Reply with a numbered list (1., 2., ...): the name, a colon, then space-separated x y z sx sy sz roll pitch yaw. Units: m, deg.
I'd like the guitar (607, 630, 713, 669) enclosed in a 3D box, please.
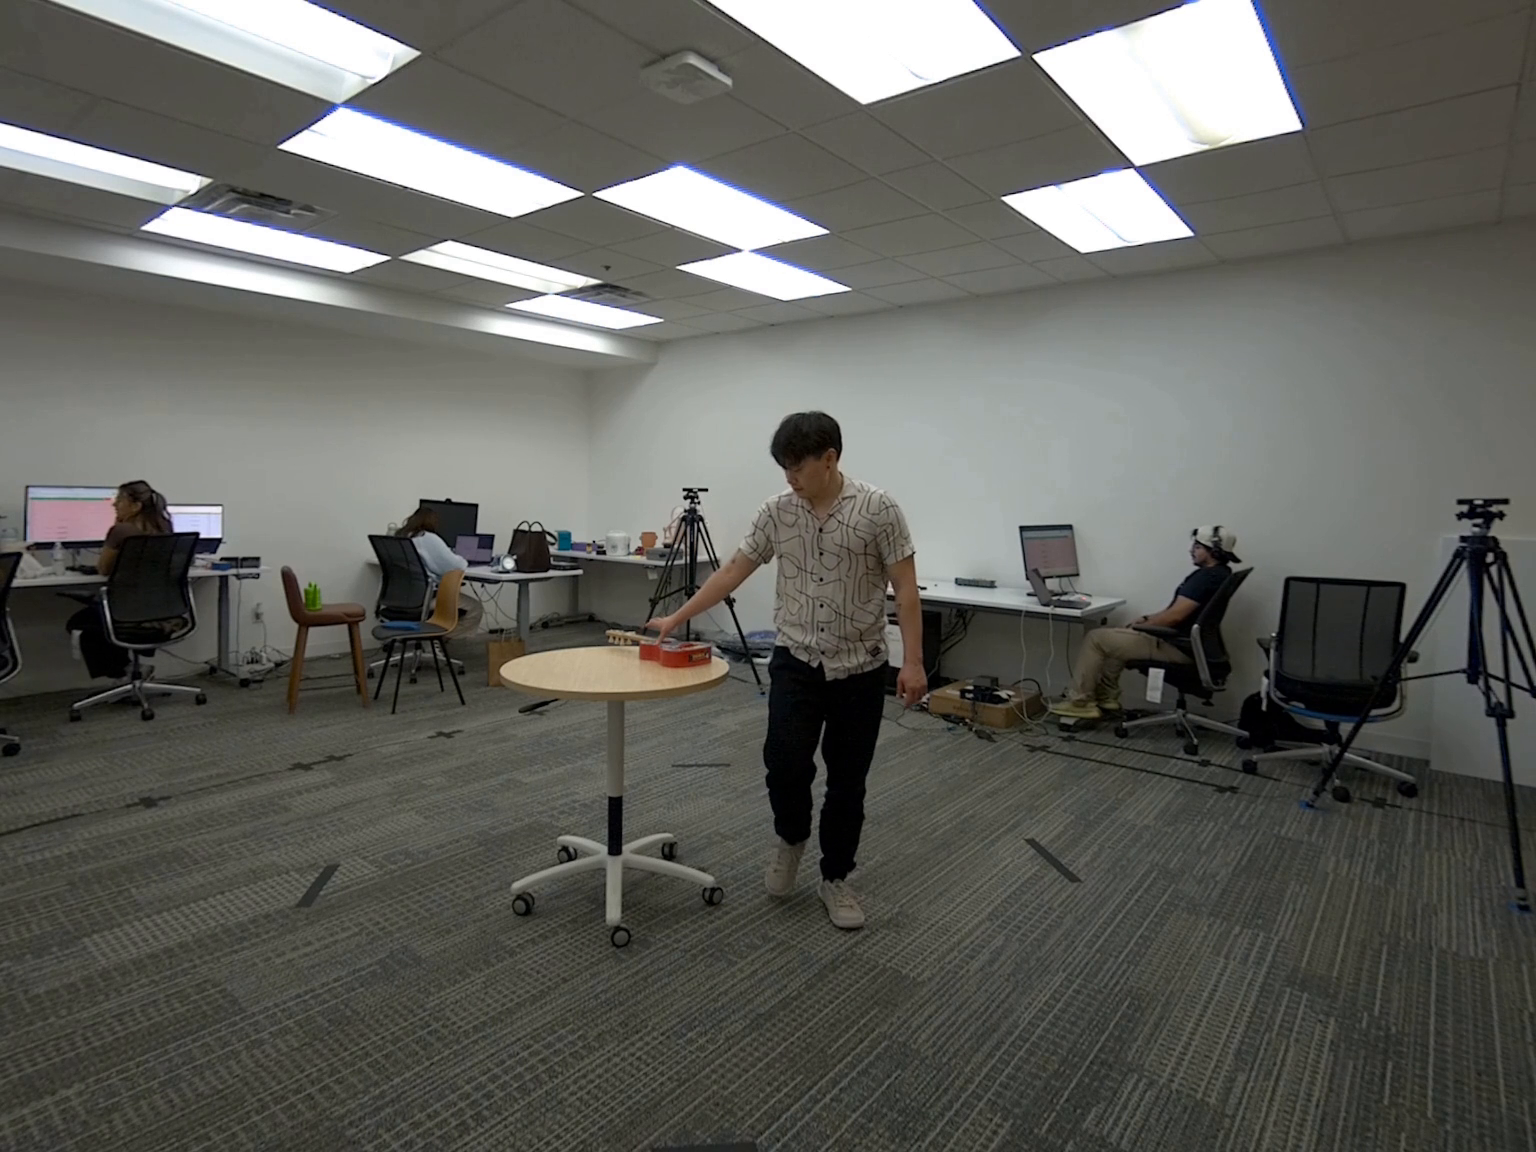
1. guitar: -0.406 0.255 3.079 0.187 0.070 0.514 -2 6 -37
